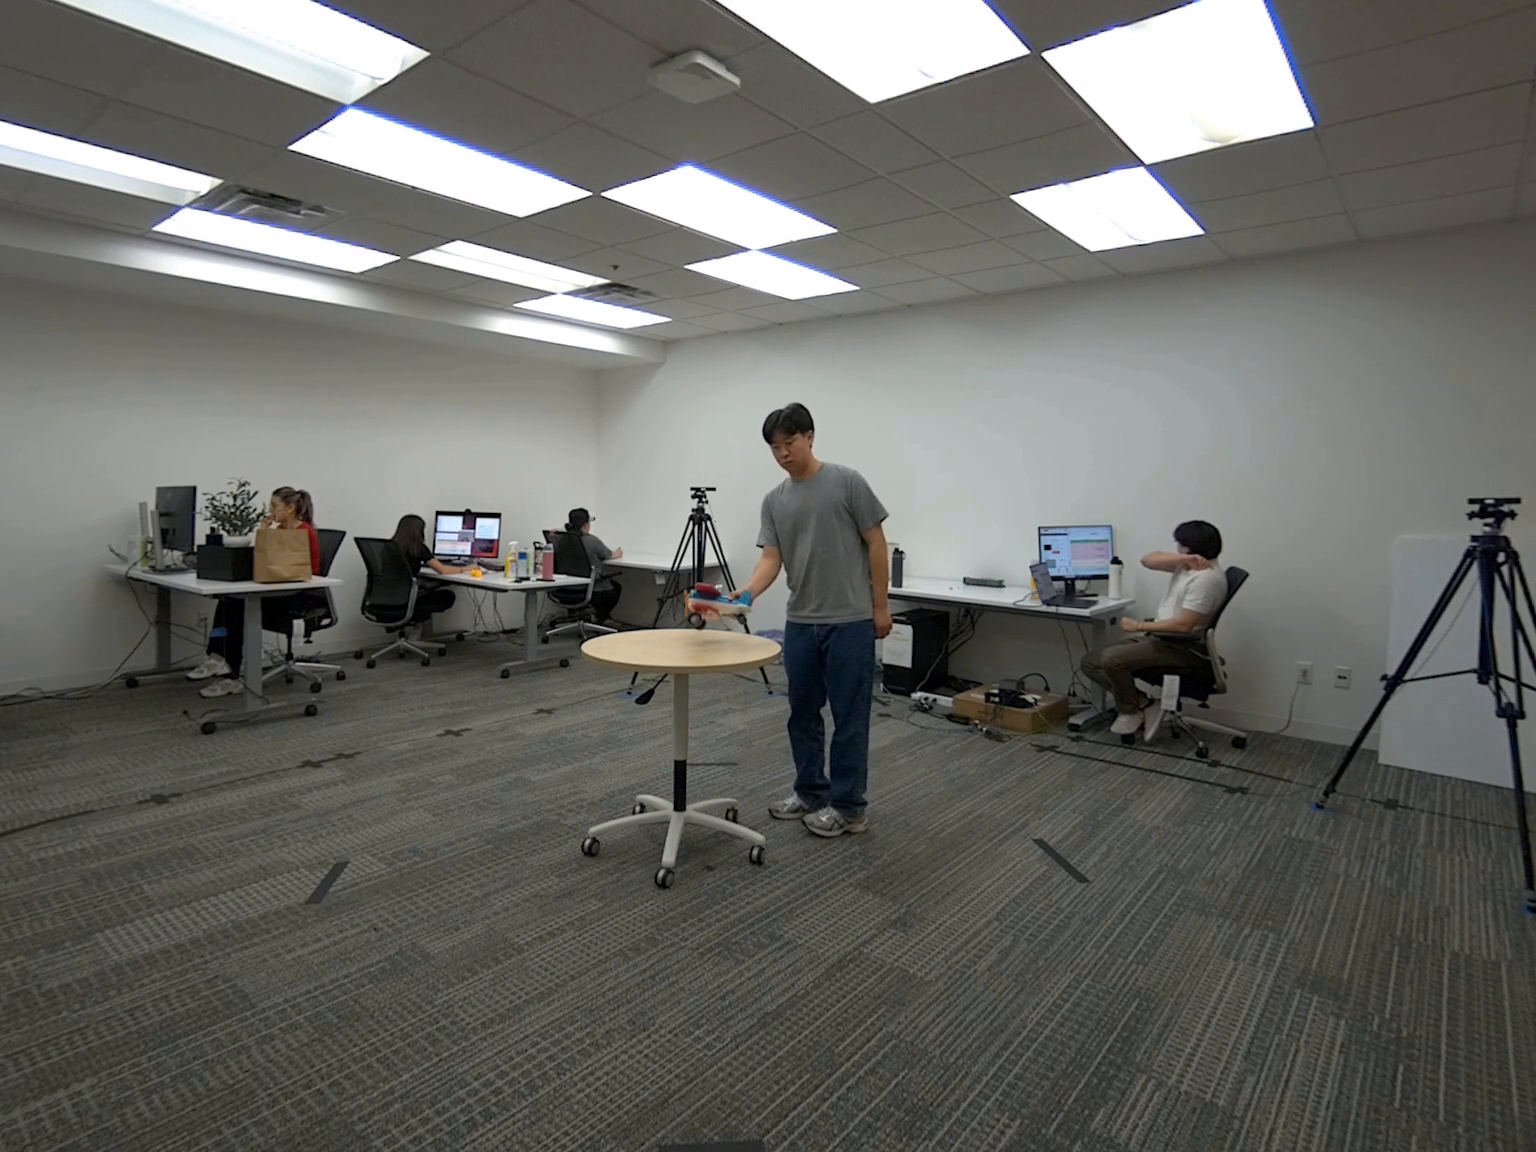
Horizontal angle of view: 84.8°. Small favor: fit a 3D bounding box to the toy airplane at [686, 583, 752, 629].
[{"bbox_3d":[-0.198,0.115,3.319,0.254,0.159,0.252,2,-15,-19],"label":"toy airplane"}]
